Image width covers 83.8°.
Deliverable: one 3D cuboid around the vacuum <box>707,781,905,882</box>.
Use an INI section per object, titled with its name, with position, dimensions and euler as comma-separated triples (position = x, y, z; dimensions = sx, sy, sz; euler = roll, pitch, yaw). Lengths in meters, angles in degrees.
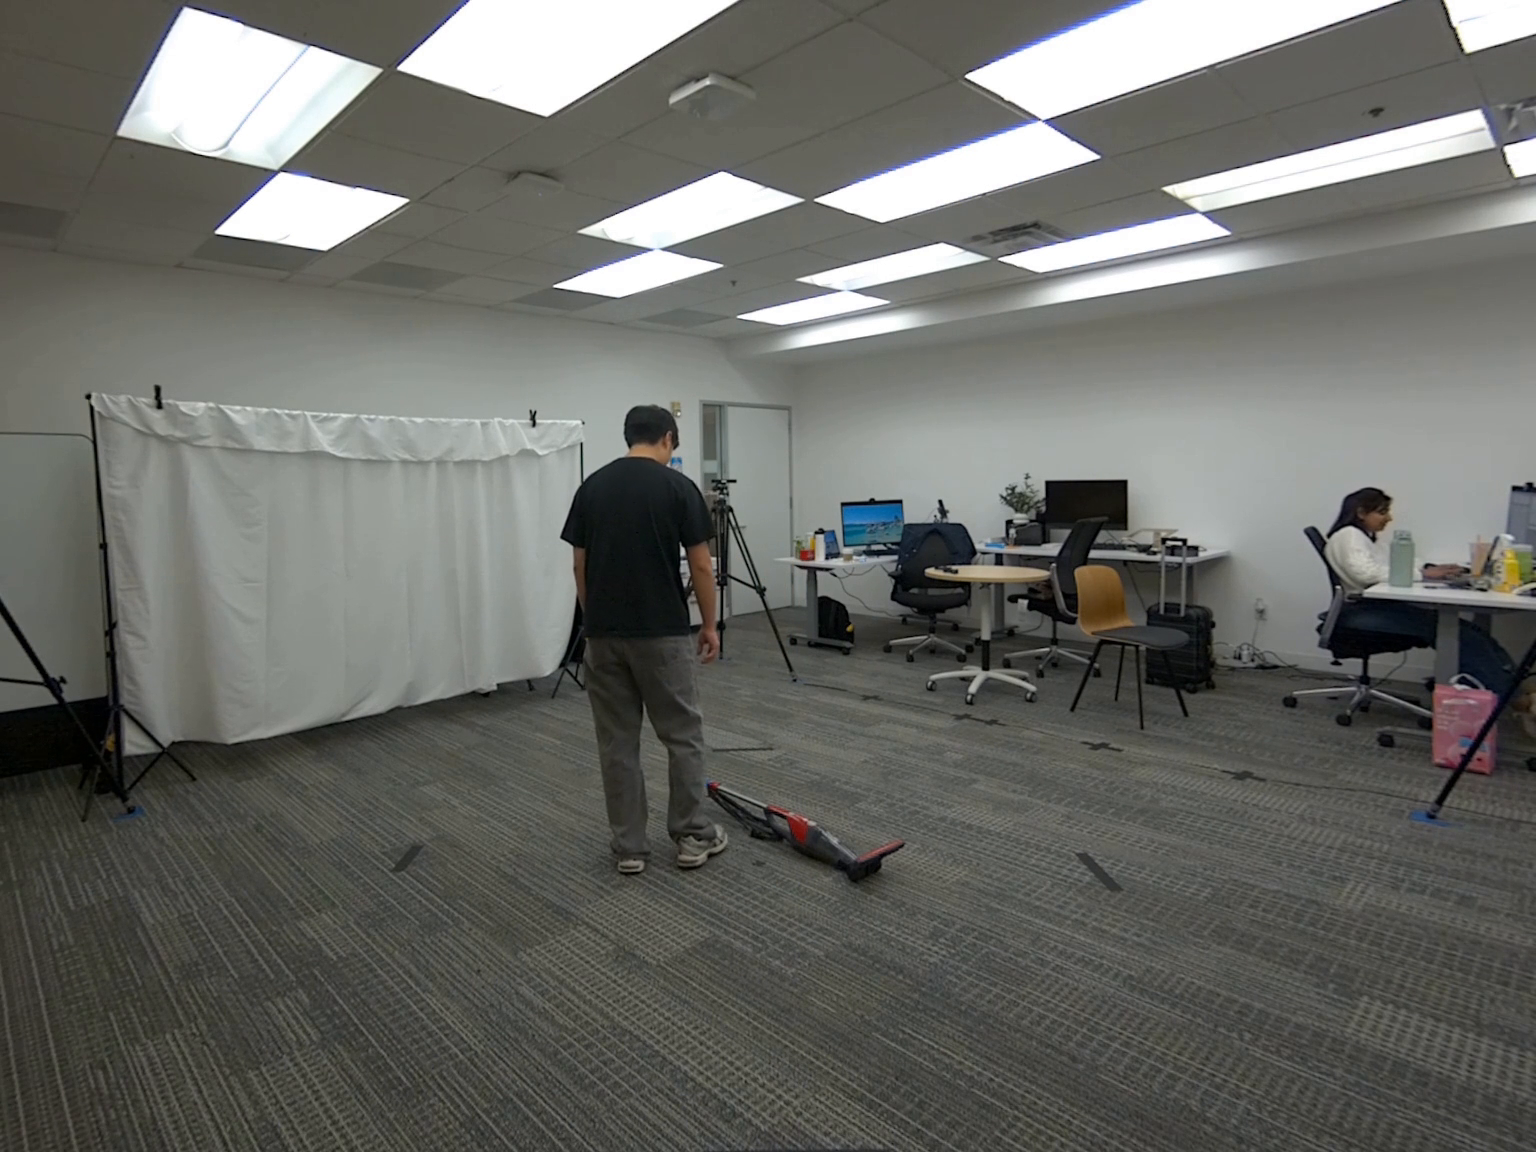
[vacuum]
position = 0.003, 0.961, 3.350
dimensions = 0.246, 0.143, 1.082
euler = -5, 7, -41
